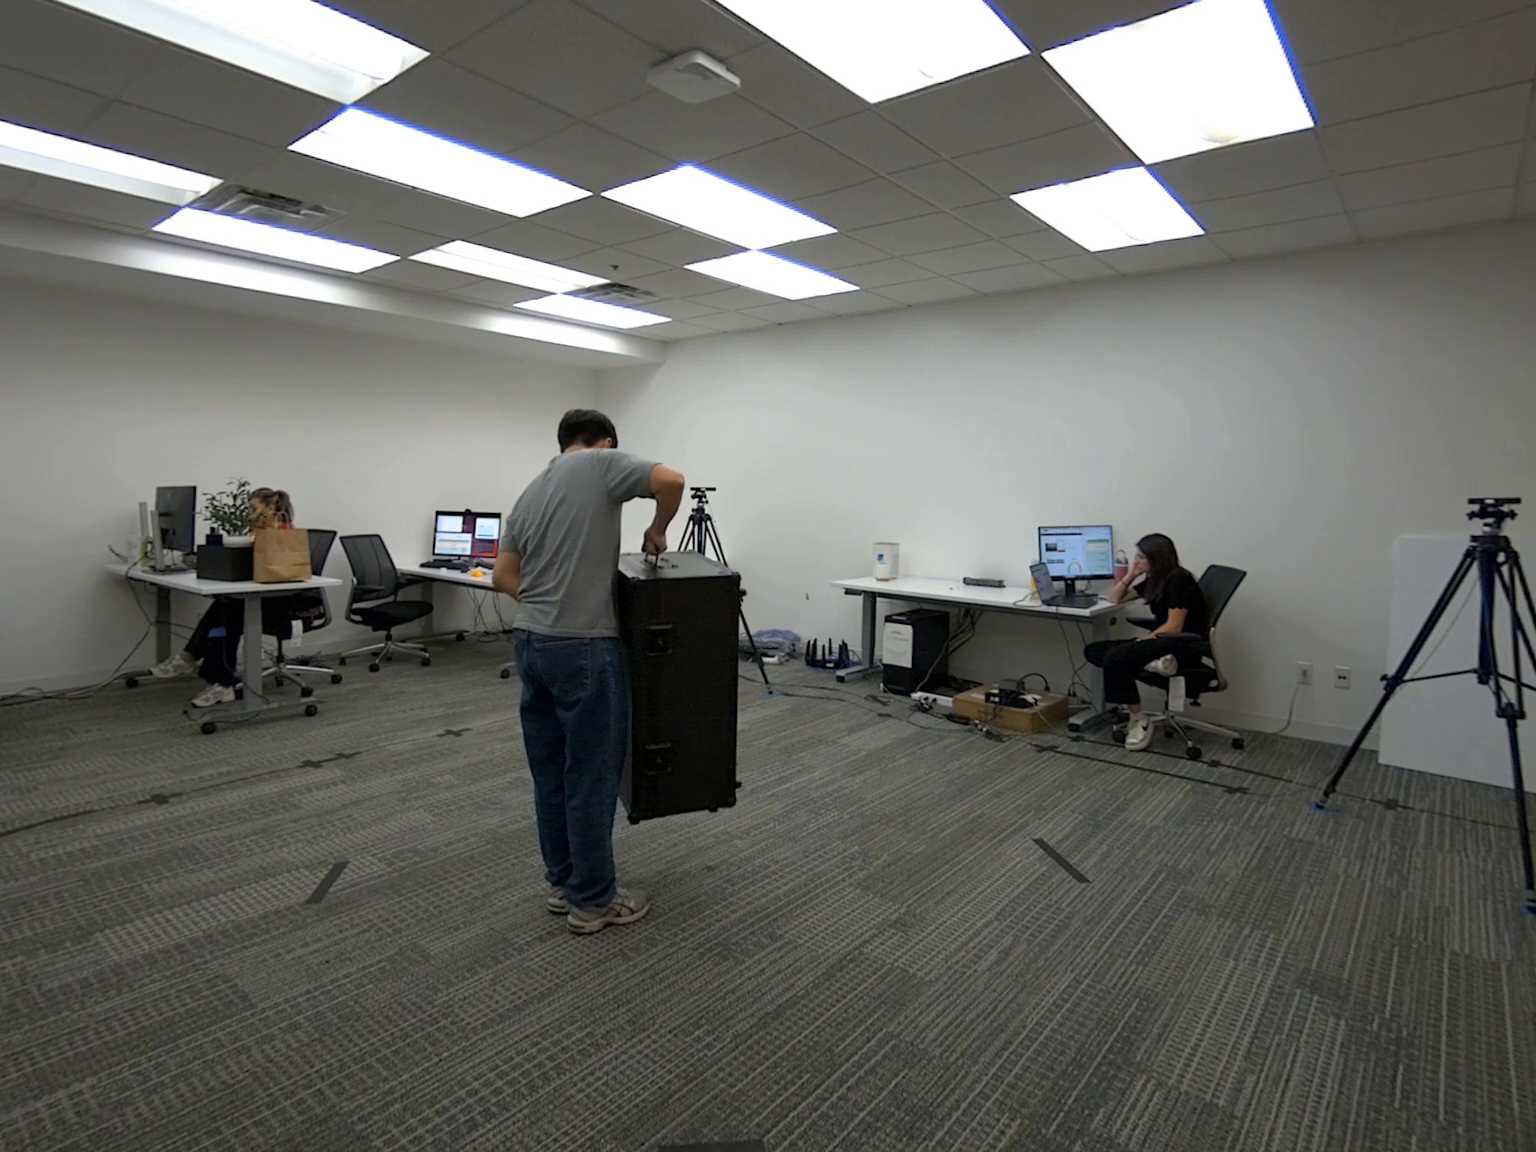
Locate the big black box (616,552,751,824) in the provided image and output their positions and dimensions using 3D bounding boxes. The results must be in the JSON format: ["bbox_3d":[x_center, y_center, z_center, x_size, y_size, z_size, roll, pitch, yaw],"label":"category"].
[{"bbox_3d":[-0.348,0.329,2.905,0.388,0.855,0.536,-1,9,-21],"label":"big black box"}]
